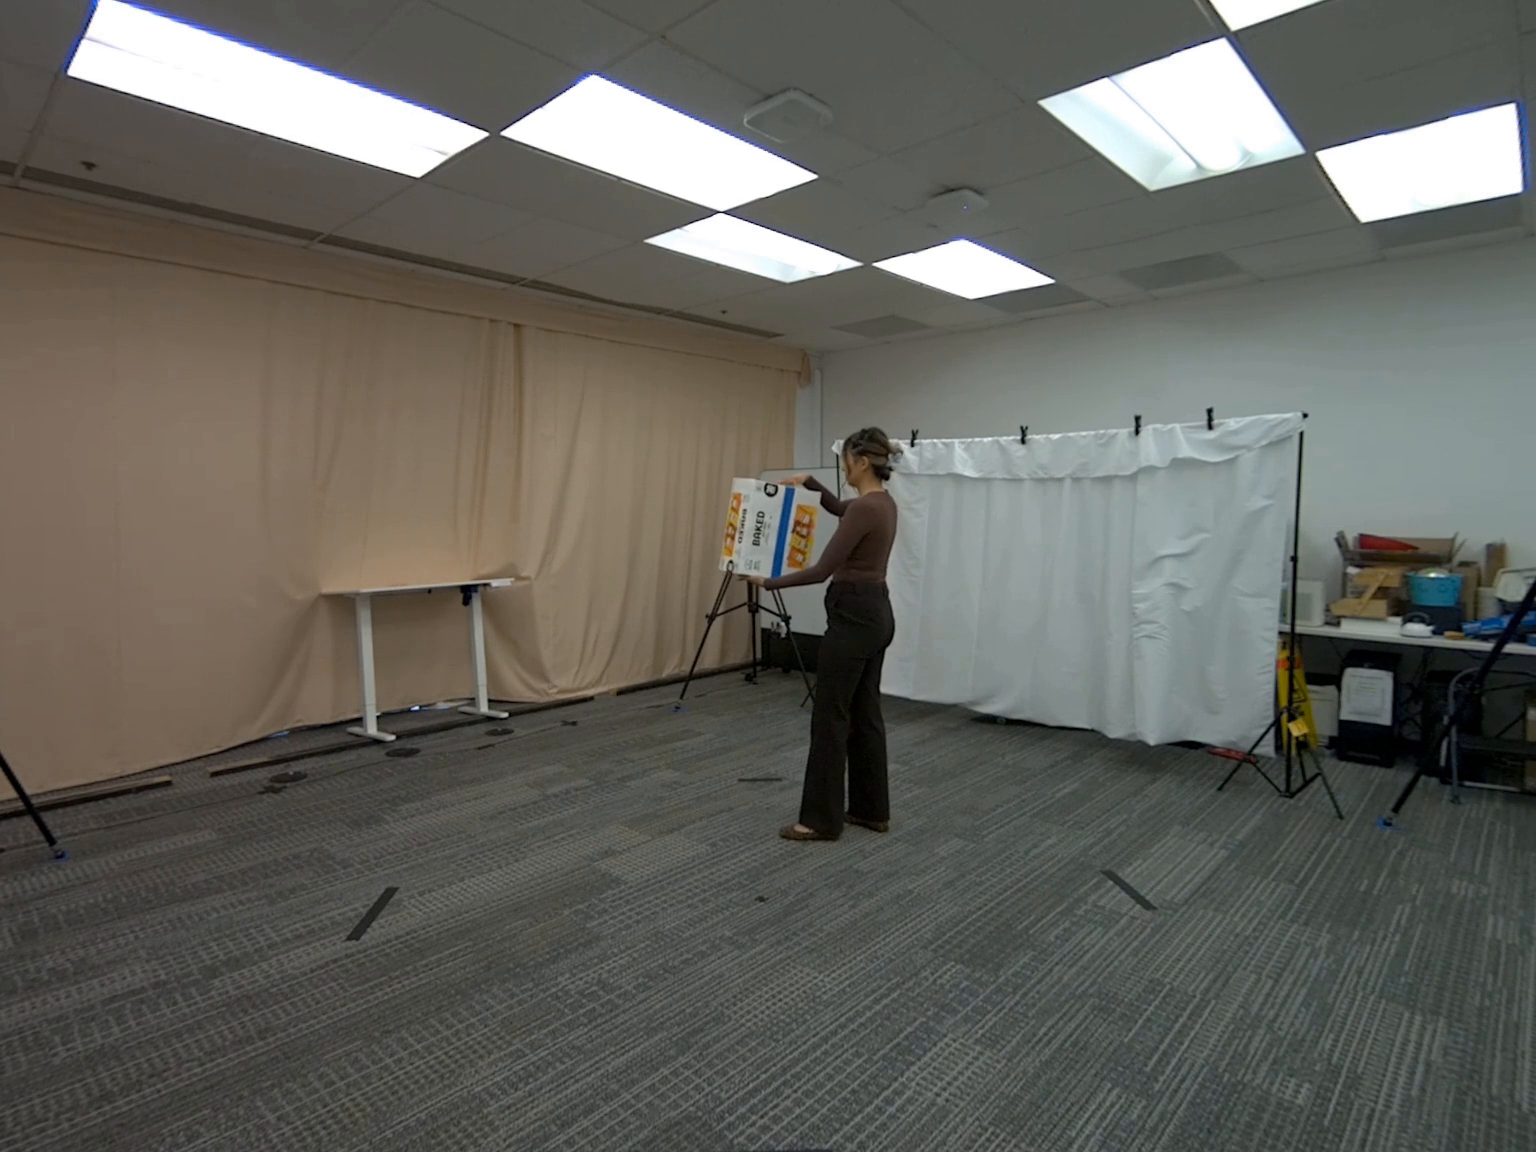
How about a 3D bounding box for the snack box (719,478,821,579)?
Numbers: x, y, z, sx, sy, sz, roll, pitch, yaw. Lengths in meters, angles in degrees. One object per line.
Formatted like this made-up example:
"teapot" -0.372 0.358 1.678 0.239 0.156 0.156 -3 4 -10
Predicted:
"snack box" 0.008 -0.193 3.689 0.331 0.405 0.212 7 2 -28
